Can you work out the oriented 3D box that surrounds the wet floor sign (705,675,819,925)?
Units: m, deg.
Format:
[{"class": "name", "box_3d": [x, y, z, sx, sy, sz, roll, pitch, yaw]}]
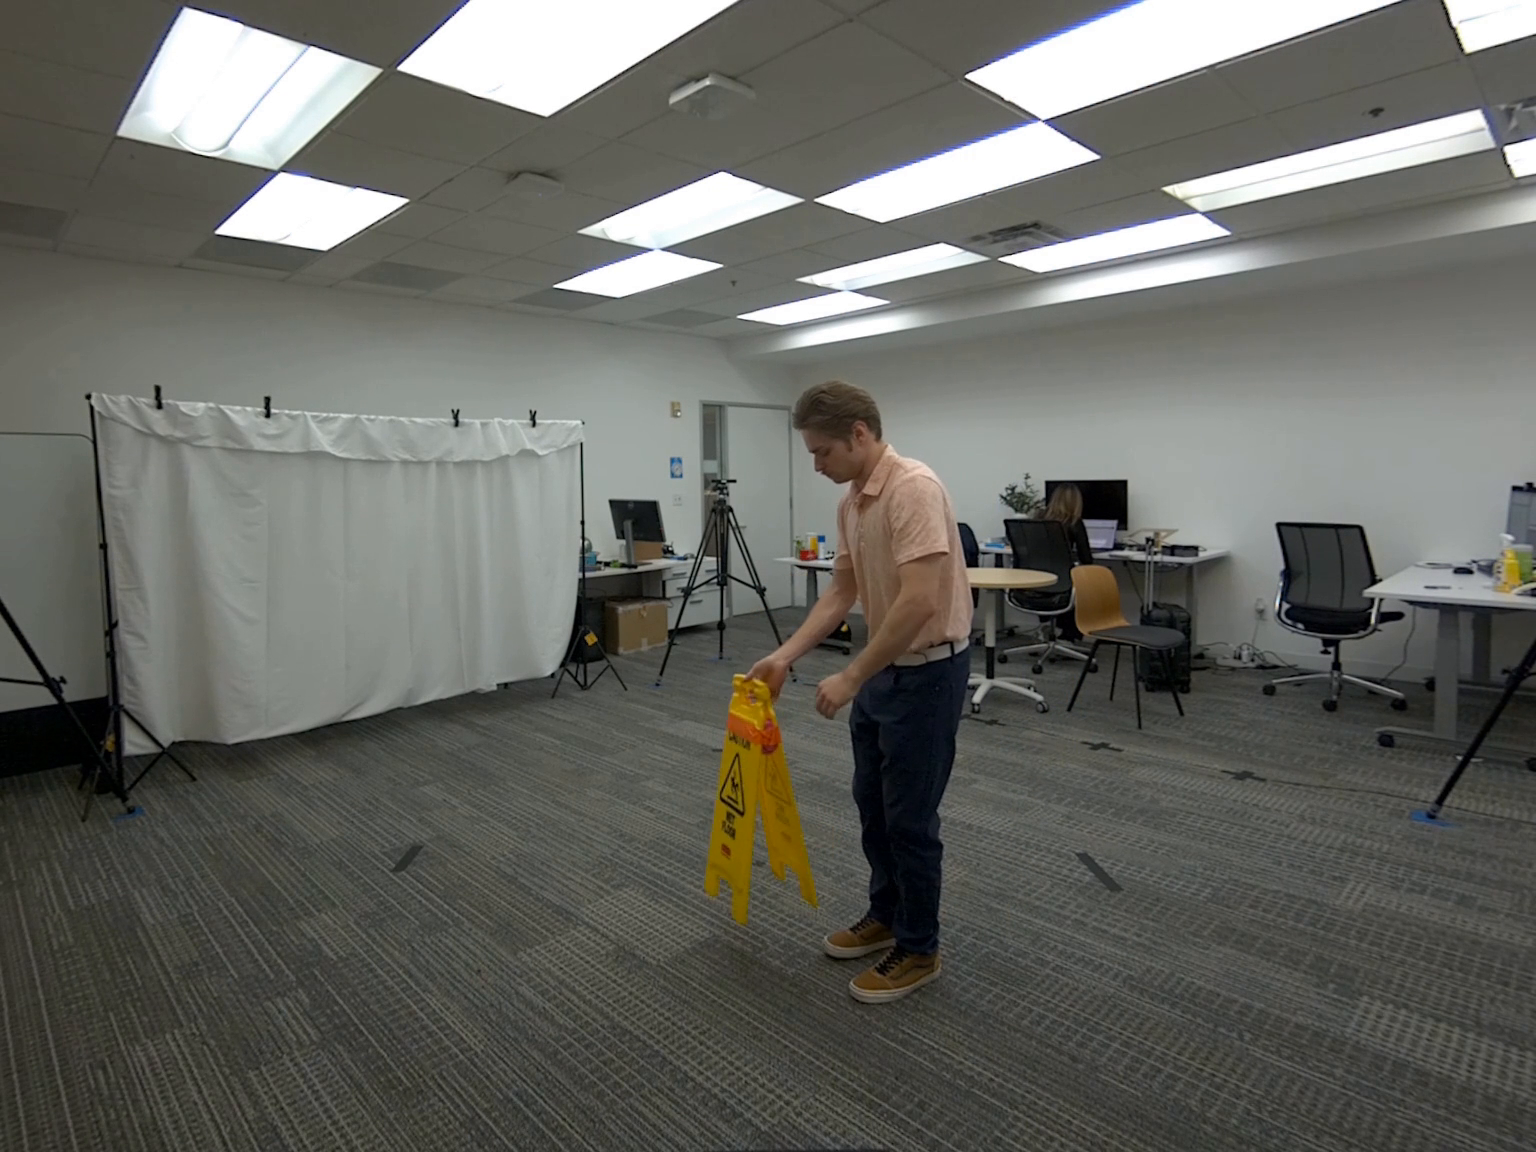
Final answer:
[{"class": "wet floor sign", "box_3d": [-0.037, 0.625, 2.512, 0.284, 0.646, 0.288, -3, 0, -24]}]
